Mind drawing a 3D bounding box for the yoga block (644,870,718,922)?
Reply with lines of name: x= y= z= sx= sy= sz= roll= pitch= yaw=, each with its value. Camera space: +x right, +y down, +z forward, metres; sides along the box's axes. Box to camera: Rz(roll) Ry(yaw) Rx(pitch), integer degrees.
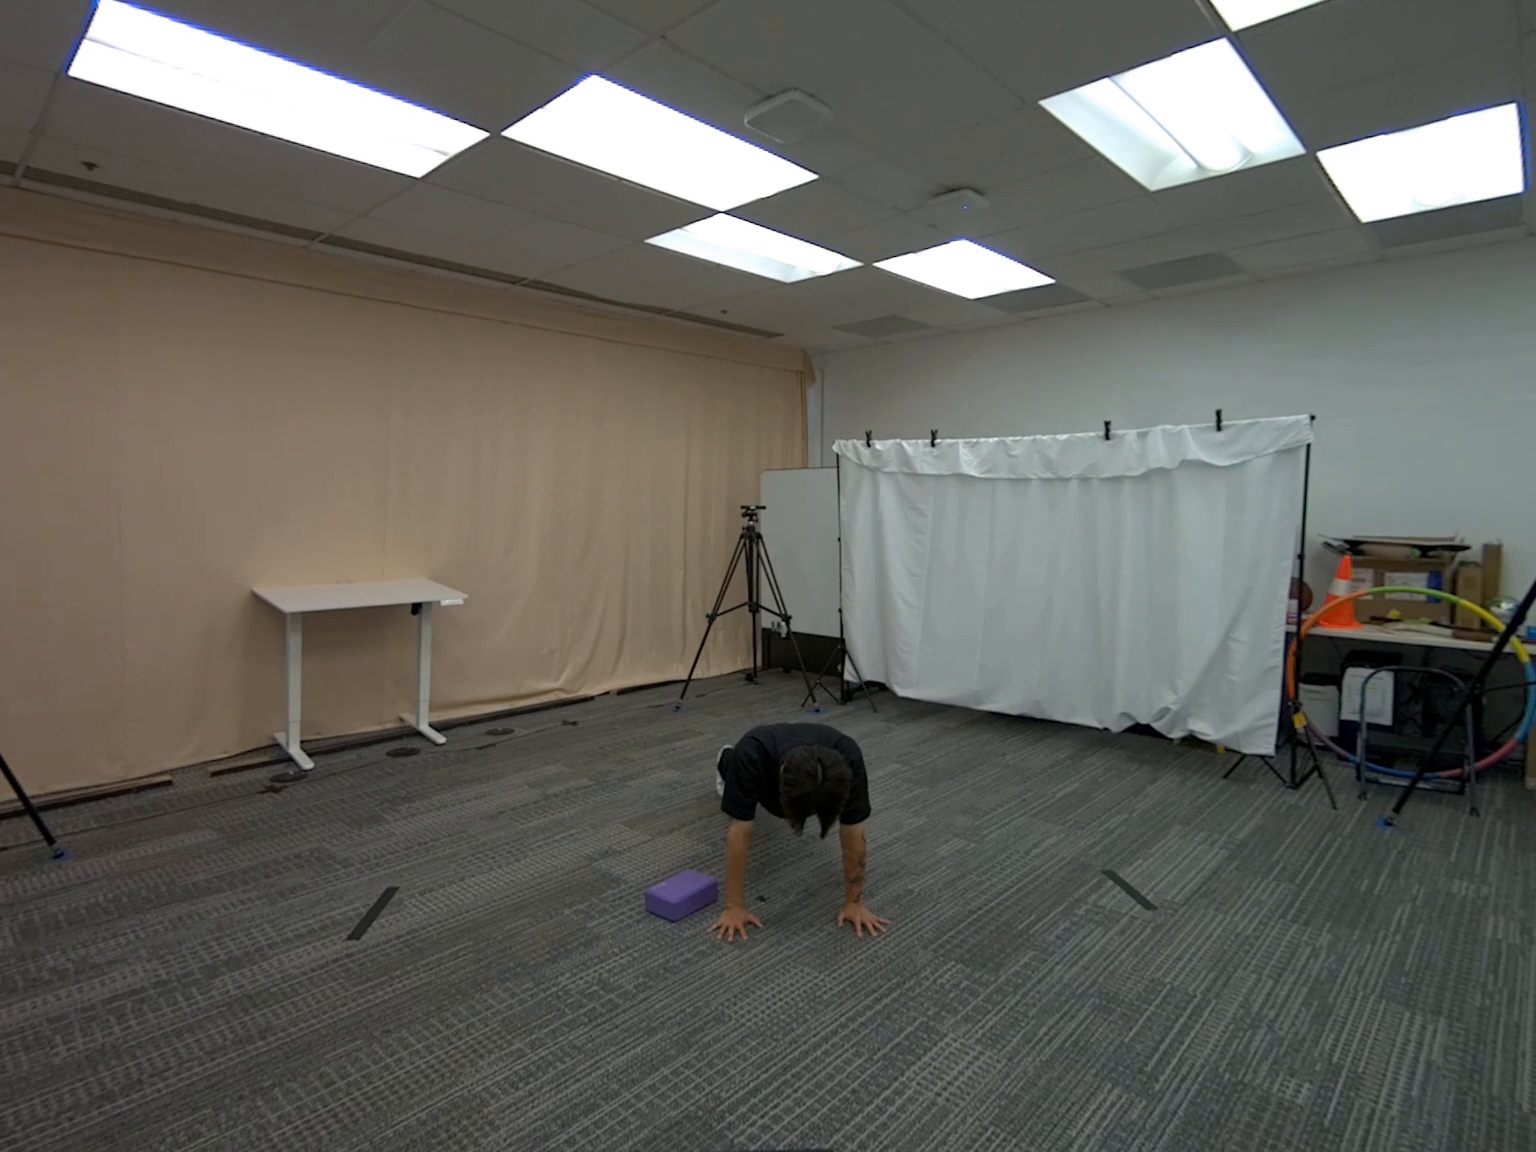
yoga block: x=-0.298 y=1.110 z=2.930 sx=0.154 sy=0.076 sz=0.222 roll=3 pitch=5 yaw=38
